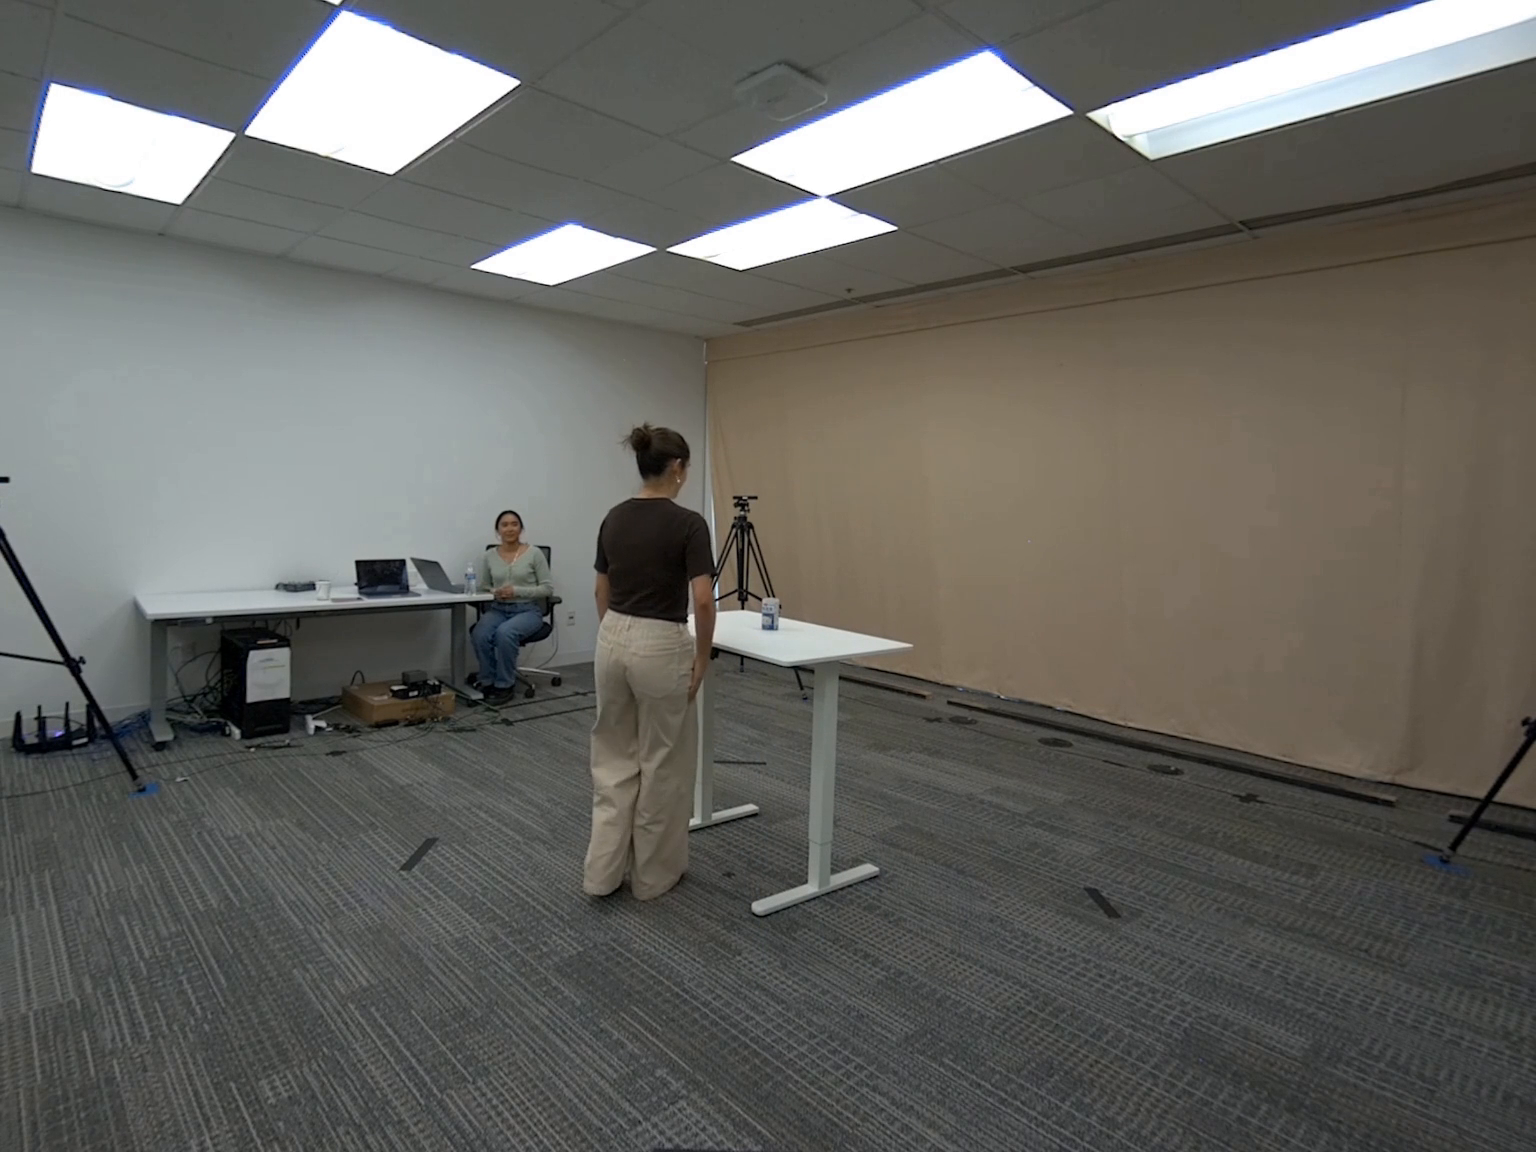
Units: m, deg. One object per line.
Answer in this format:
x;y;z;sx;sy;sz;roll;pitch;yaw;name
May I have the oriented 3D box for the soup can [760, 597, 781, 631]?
0.000;0.151;3.270;0.067;0.121;0.067;2;6;-2;soup can
